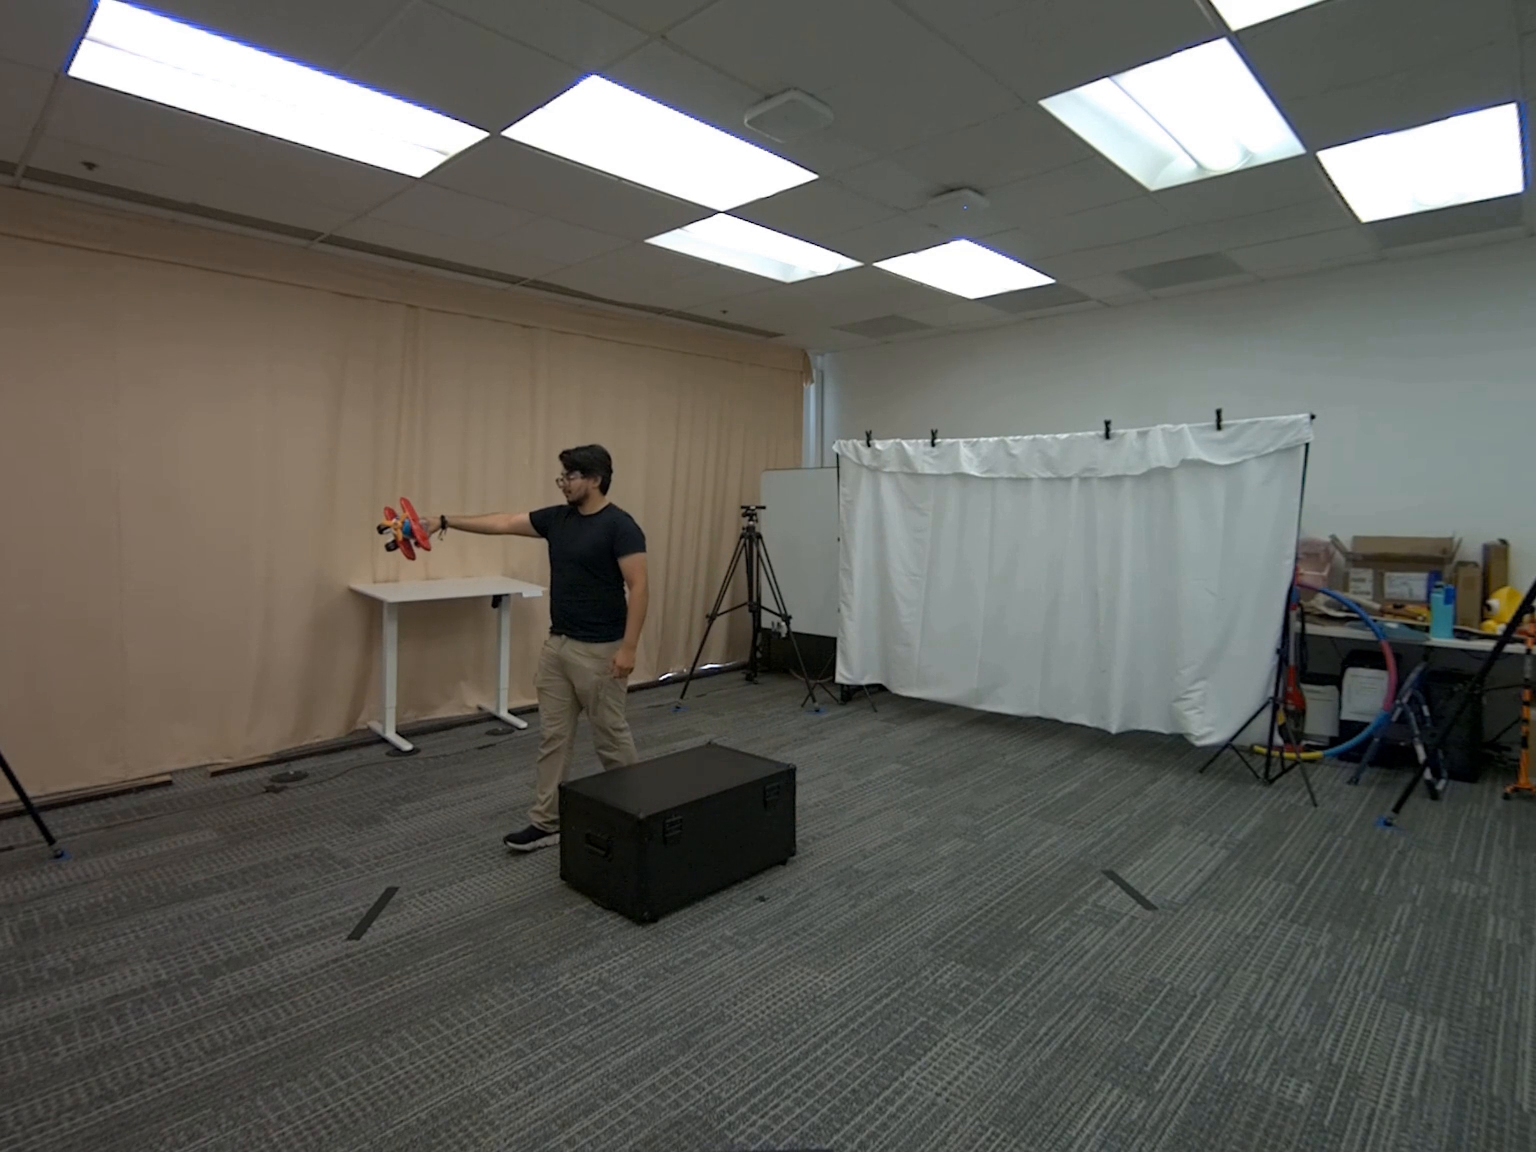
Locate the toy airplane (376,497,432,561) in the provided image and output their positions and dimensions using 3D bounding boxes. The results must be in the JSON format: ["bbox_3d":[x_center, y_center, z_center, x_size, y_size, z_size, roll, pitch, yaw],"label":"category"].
[{"bbox_3d":[-1.500,-0.200,3.526,0.158,0.247,0.261,-33,16,17],"label":"toy airplane"}]
